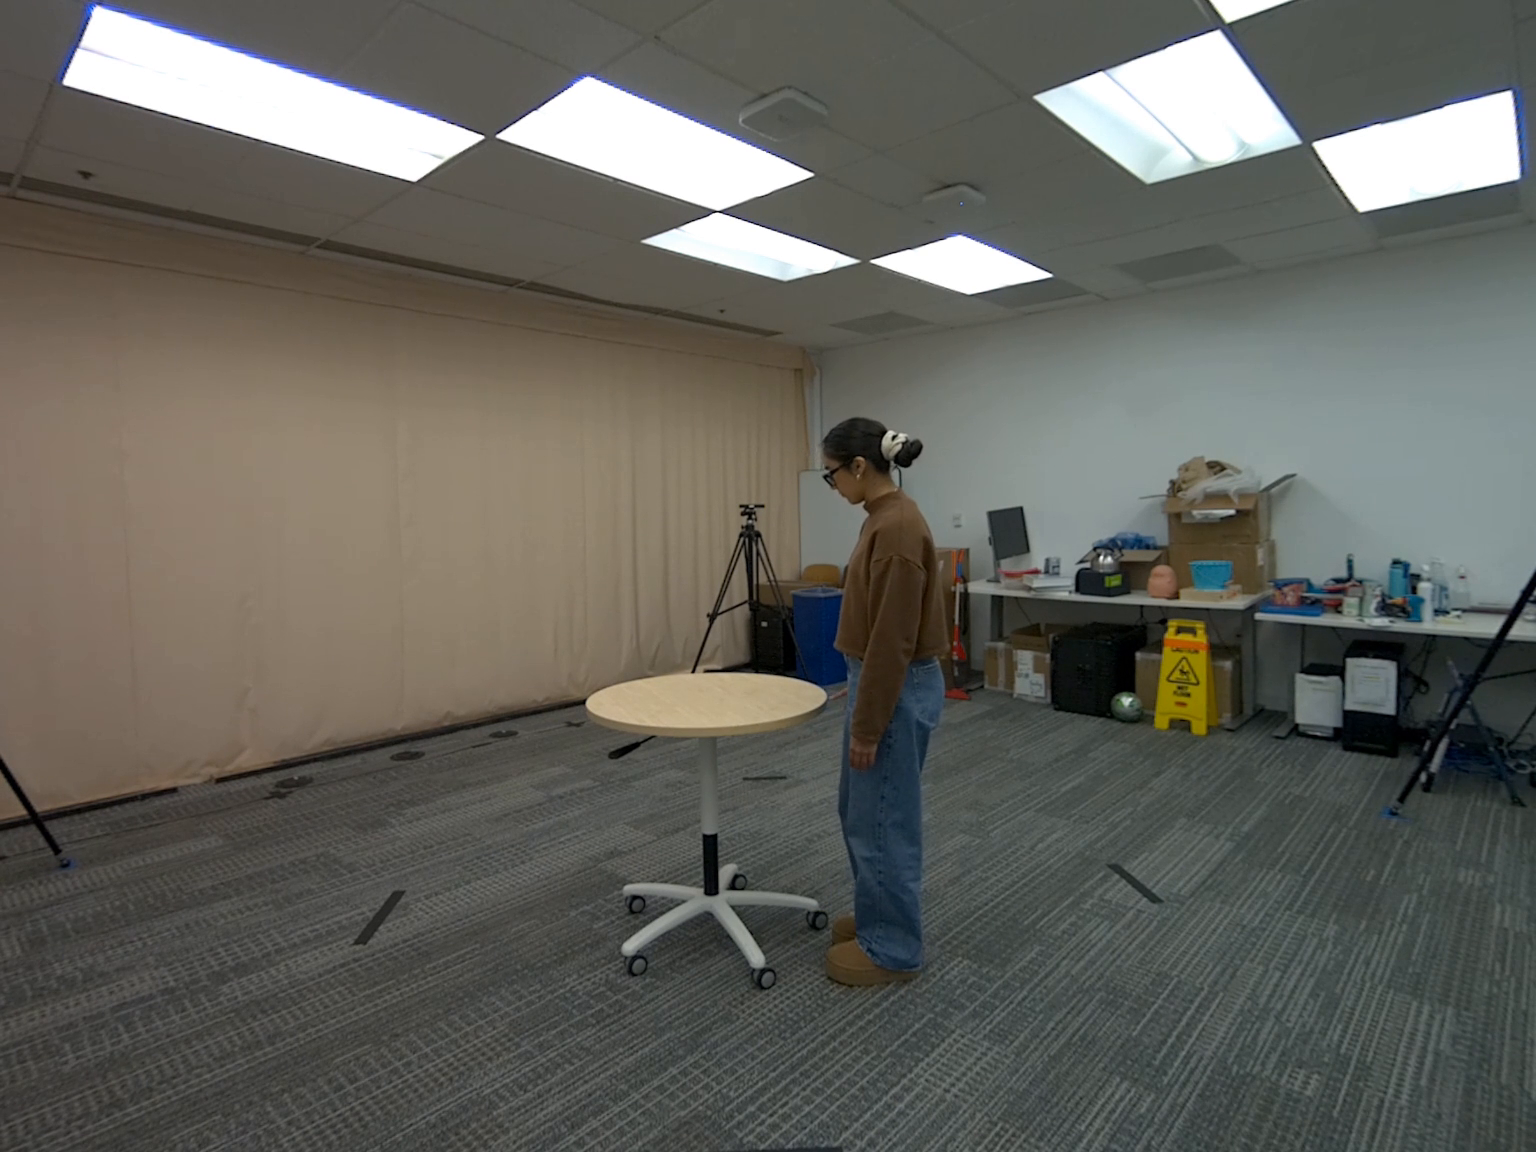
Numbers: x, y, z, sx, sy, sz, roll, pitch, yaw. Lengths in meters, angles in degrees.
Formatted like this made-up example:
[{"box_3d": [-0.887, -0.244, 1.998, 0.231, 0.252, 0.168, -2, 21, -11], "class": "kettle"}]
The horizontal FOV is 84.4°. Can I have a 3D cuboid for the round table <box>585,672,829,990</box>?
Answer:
[{"box_3d": [-0.184, 0.779, 2.711, 0.763, 0.792, 0.766, -1, 4, -2], "class": "round table"}]
